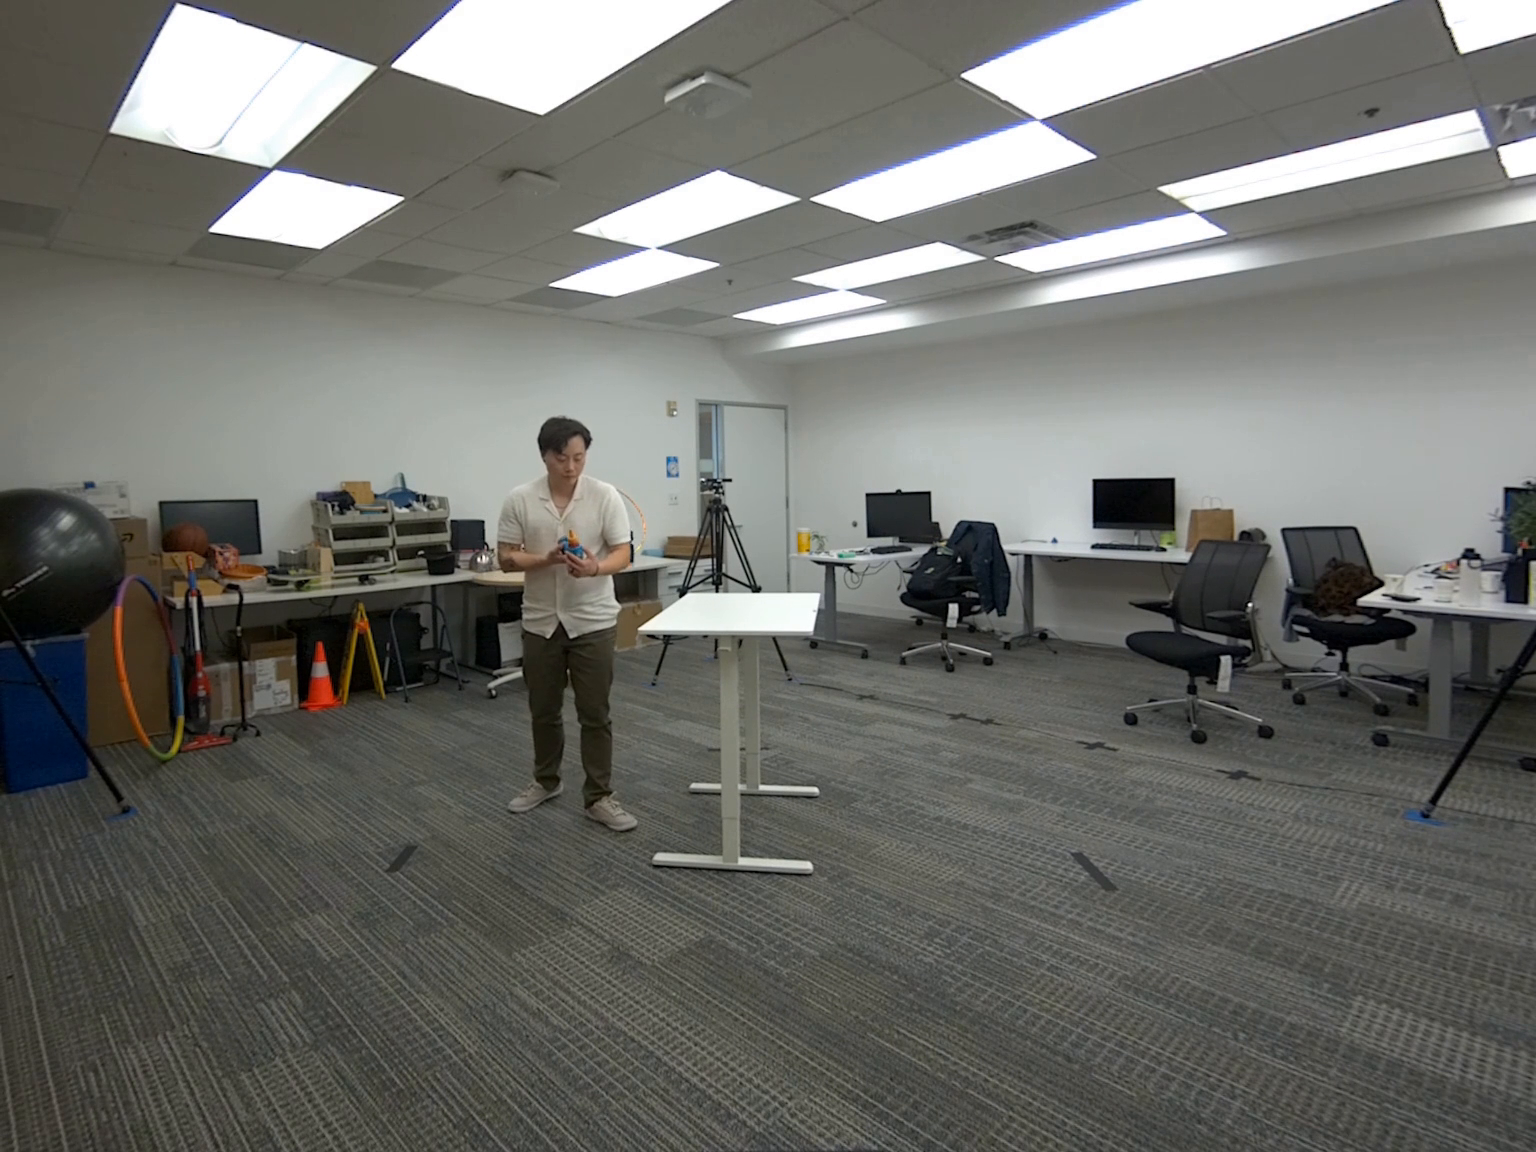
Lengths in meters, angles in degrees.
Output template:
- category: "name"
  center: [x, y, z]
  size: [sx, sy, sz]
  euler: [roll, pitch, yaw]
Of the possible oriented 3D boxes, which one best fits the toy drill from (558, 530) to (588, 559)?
- category: "toy drill"
  center: [-0.769, -0.121, 3.299]
  size: [0.060, 0.165, 0.152]
  euler: [-26, 40, -28]
